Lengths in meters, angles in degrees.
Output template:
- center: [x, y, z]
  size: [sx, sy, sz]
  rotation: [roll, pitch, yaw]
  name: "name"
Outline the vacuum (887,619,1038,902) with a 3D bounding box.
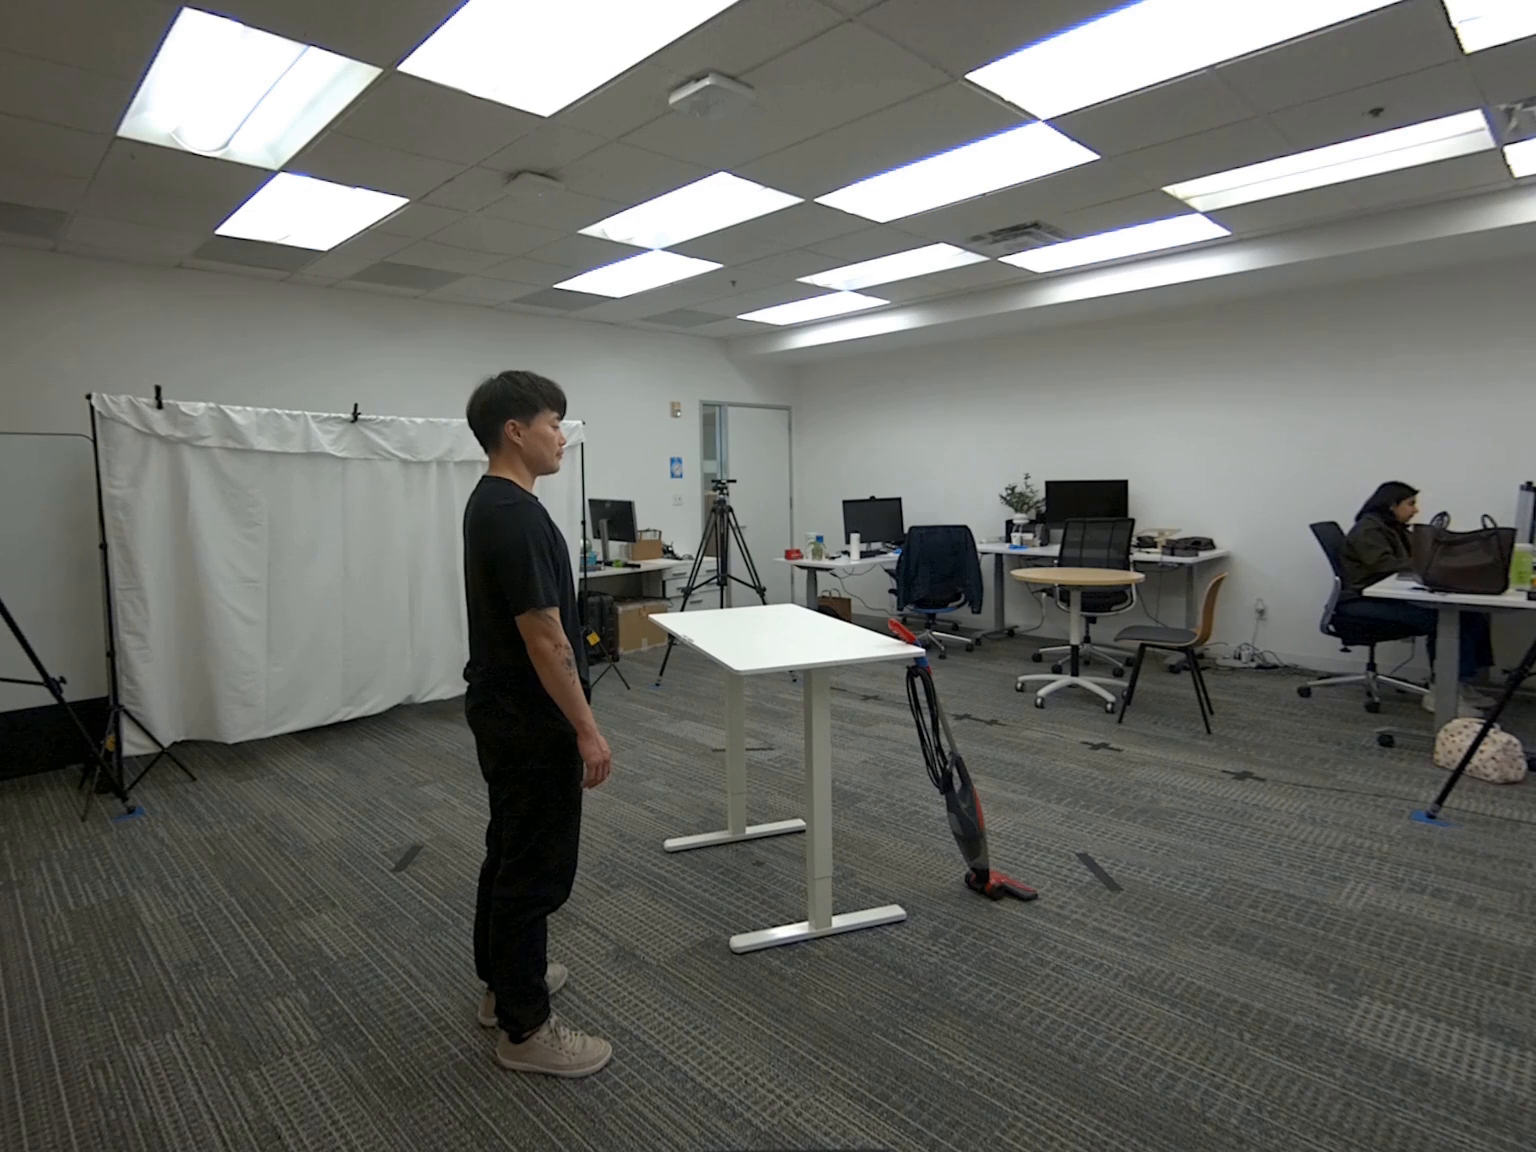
- center: [0.582, 0.597, 2.747]
  size: [0.143, 1.029, 0.260]
  rotation: [-32, 19, -32]
  name: "vacuum"
